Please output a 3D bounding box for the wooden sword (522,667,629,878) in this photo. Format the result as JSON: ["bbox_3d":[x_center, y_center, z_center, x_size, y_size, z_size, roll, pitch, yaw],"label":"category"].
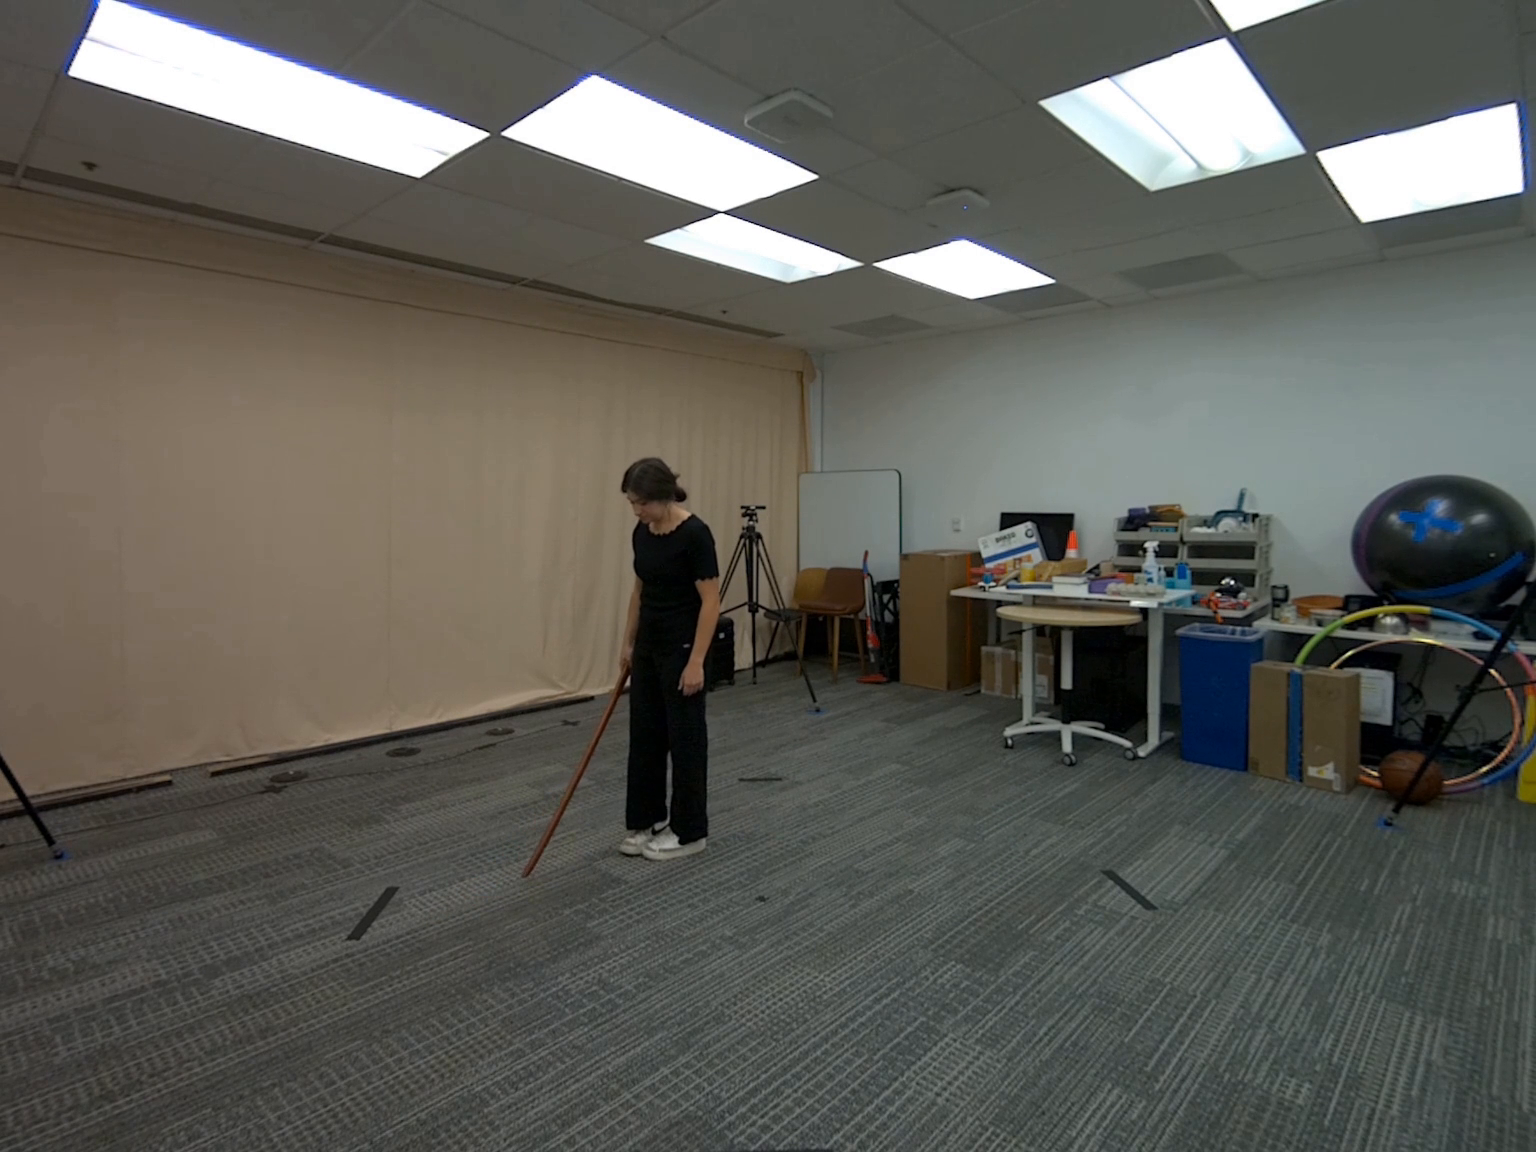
[{"bbox_3d":[-0.704,0.710,3.327,0.025,1.026,0.050,14,-31,21],"label":"wooden sword"}]
